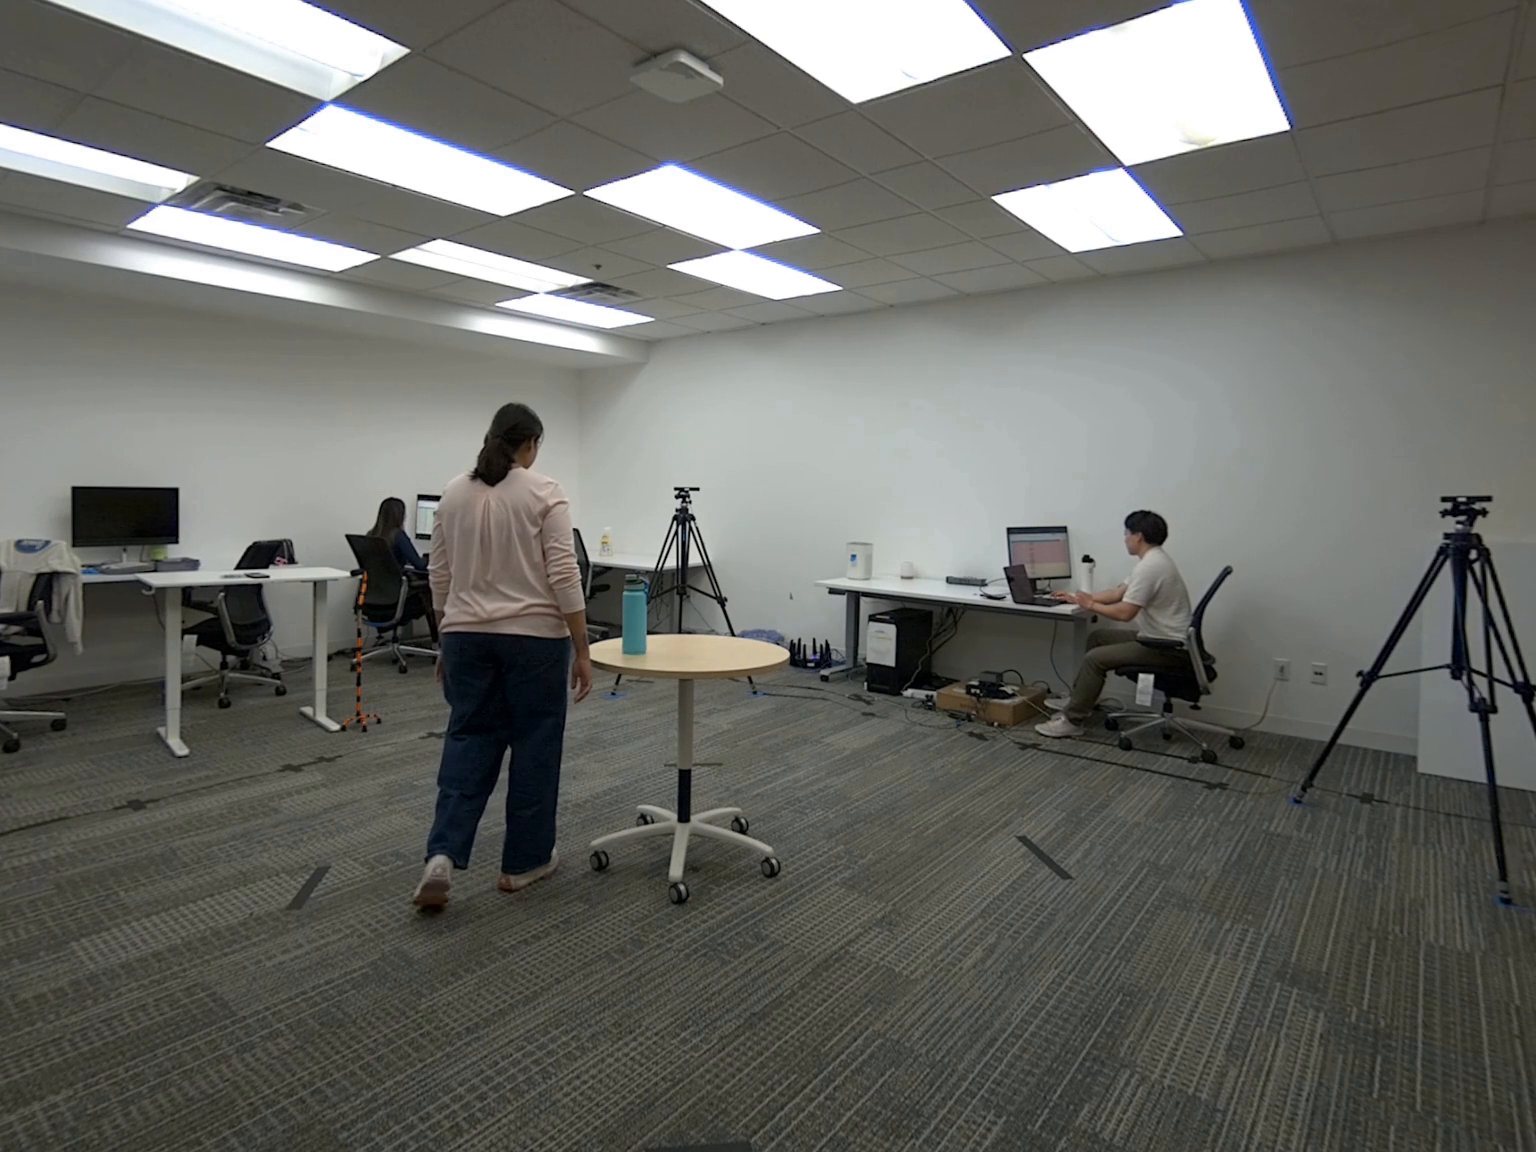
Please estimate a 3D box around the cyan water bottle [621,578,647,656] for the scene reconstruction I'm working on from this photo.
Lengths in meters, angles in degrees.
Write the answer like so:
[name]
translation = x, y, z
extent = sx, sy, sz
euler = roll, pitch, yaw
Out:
[cyan water bottle]
translation = -0.502, 0.140, 3.106
extent = 0.092, 0.283, 0.092
euler = 2, 2, -2
